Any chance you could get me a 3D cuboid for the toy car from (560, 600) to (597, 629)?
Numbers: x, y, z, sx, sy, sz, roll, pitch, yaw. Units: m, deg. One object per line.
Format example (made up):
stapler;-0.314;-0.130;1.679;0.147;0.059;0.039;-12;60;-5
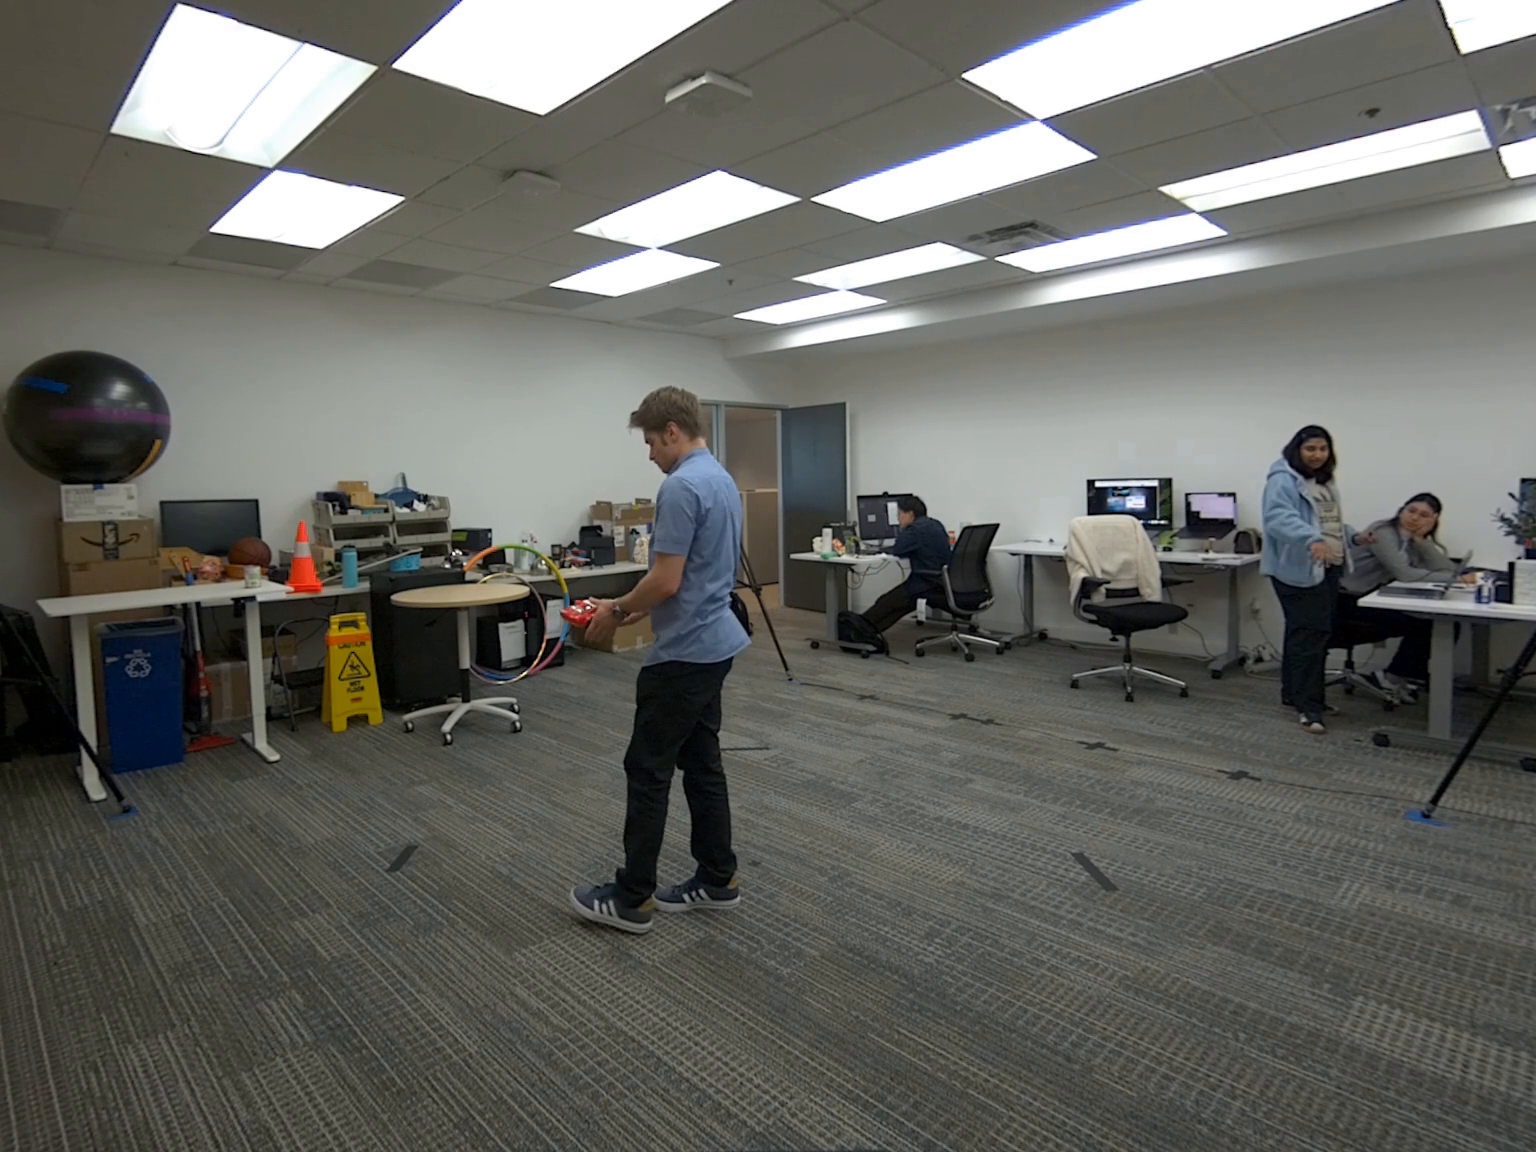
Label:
toy car;-0.583;0.127;2.880;0.134;0.083;0.247;22;10;30
